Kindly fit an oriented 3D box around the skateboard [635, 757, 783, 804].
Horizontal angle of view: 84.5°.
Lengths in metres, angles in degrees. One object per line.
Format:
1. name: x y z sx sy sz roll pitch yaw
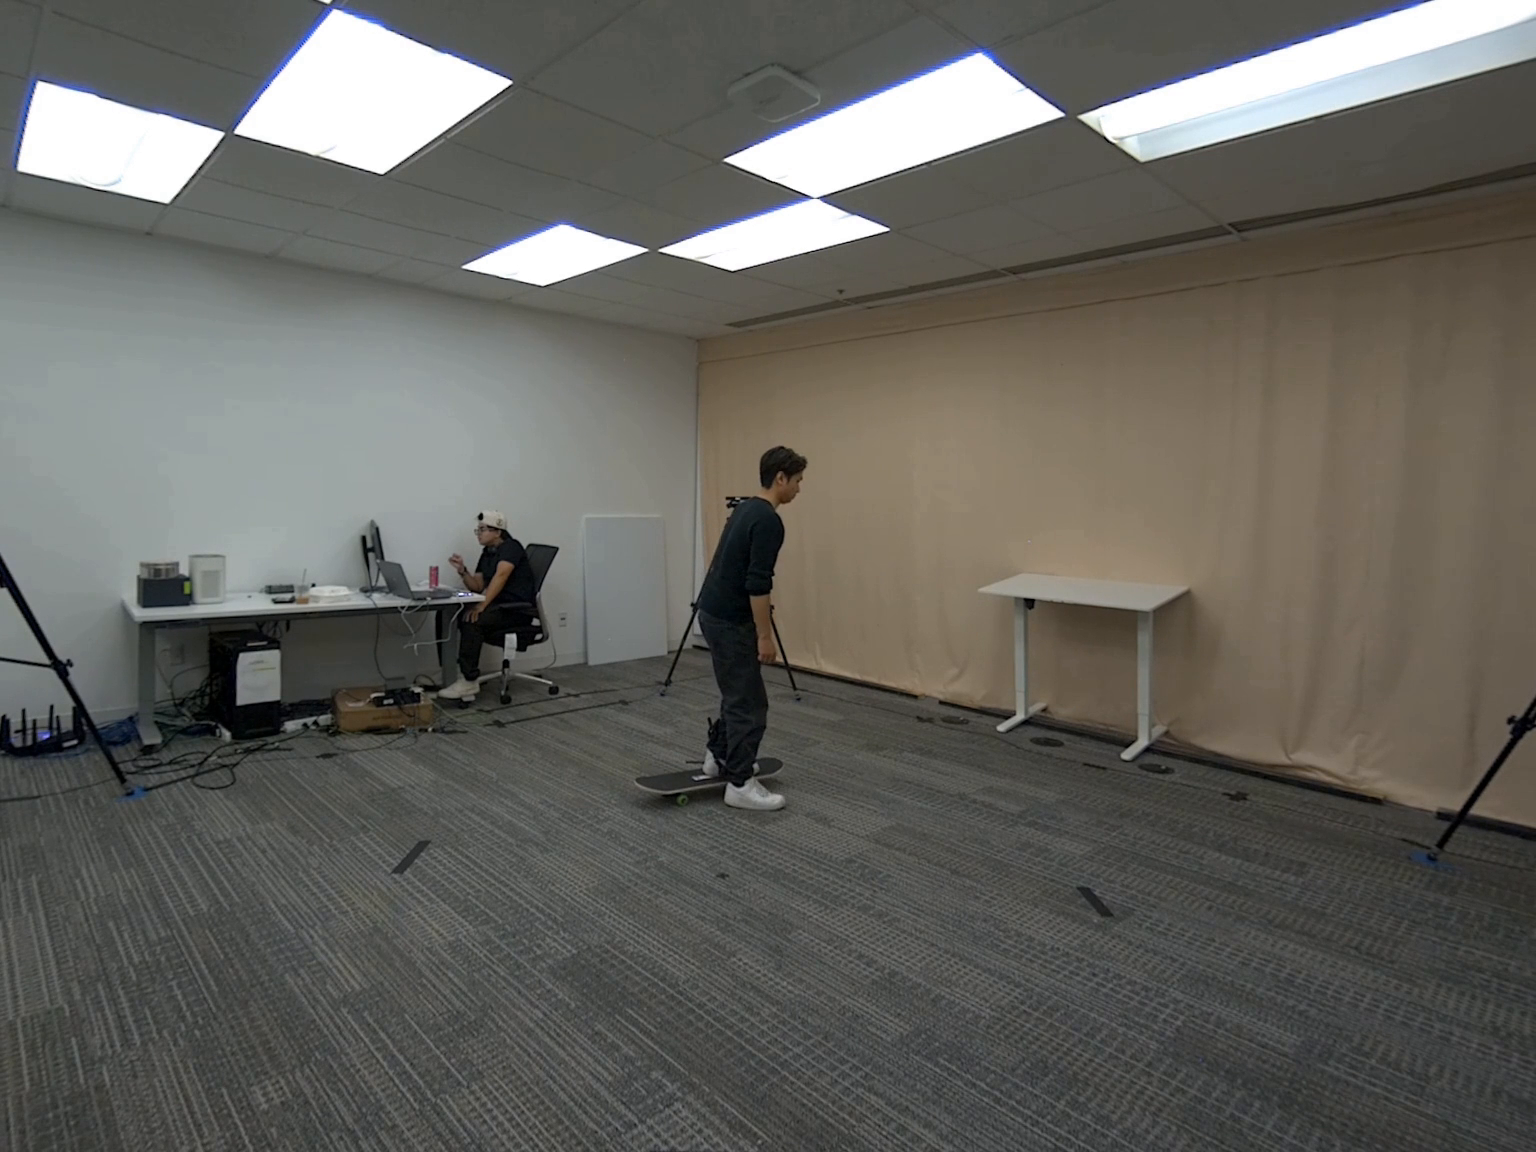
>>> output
1. skateboard: -0.282 0.974 3.987 0.769 0.110 0.198 -1 8 -33
